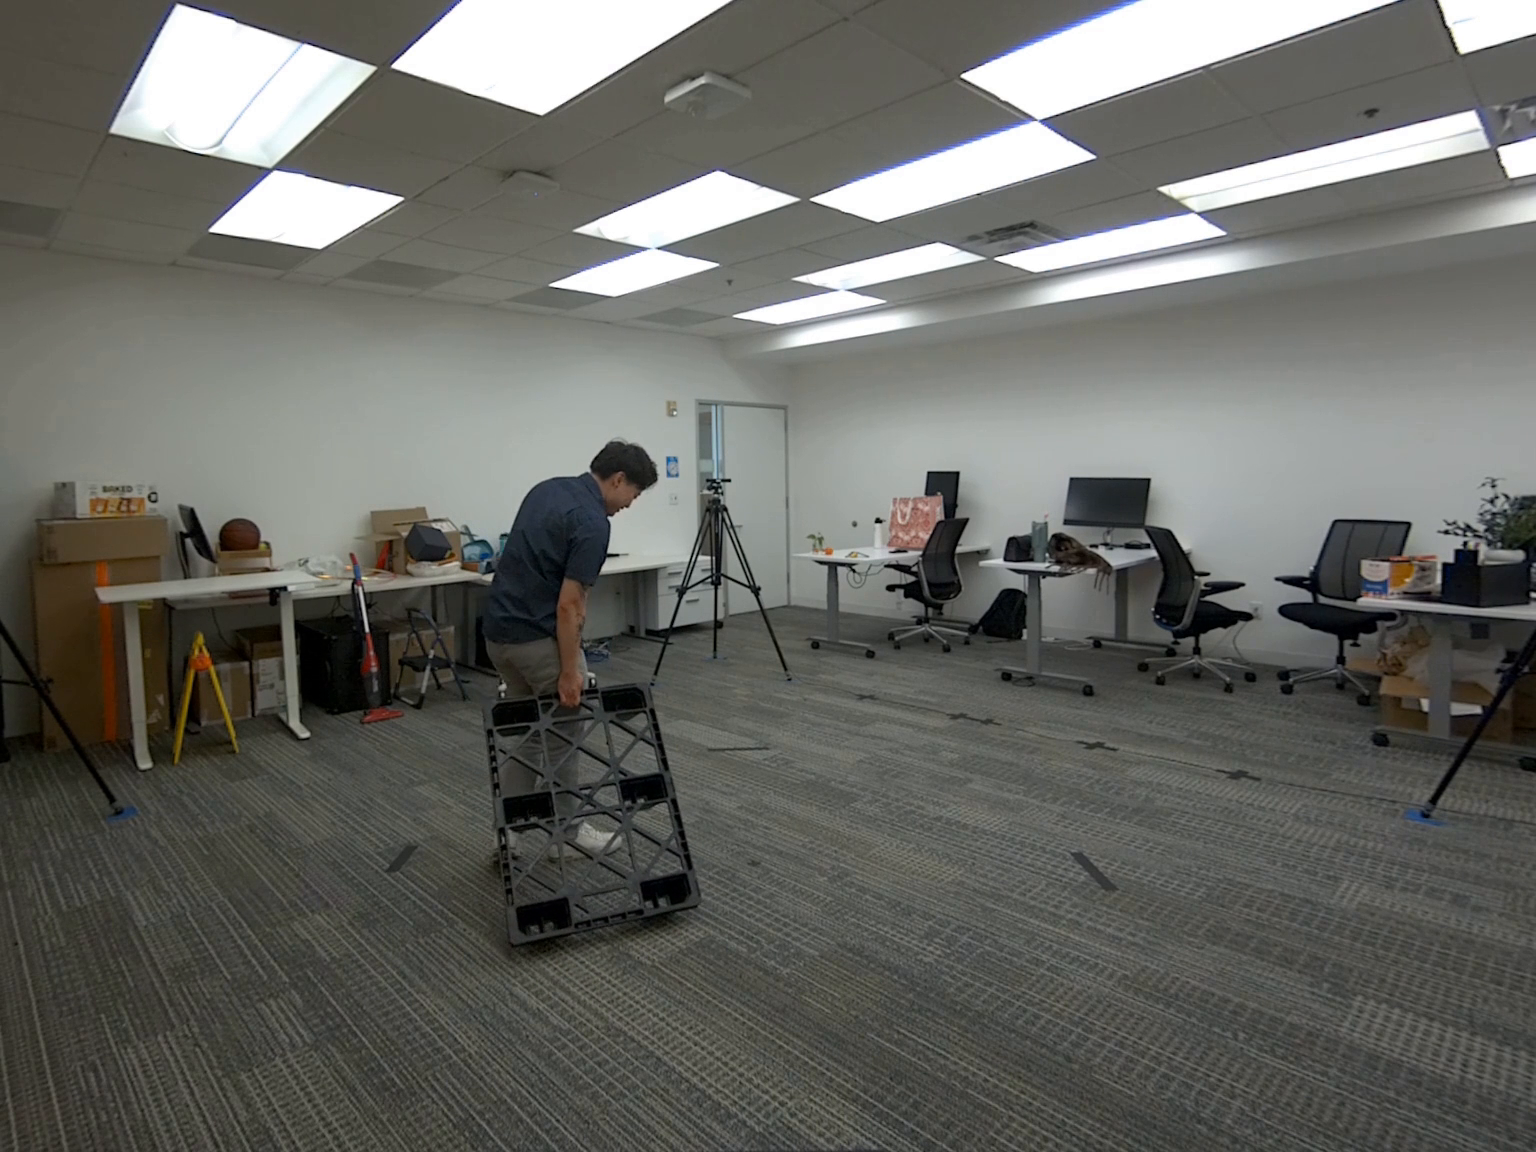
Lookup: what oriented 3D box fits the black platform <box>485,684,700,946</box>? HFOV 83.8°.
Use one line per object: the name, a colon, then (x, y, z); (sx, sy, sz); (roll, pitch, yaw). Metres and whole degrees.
black platform: (-0.613, 0.768, 2.856); (0.594, 0.832, 0.141); (-4, -36, -21)
